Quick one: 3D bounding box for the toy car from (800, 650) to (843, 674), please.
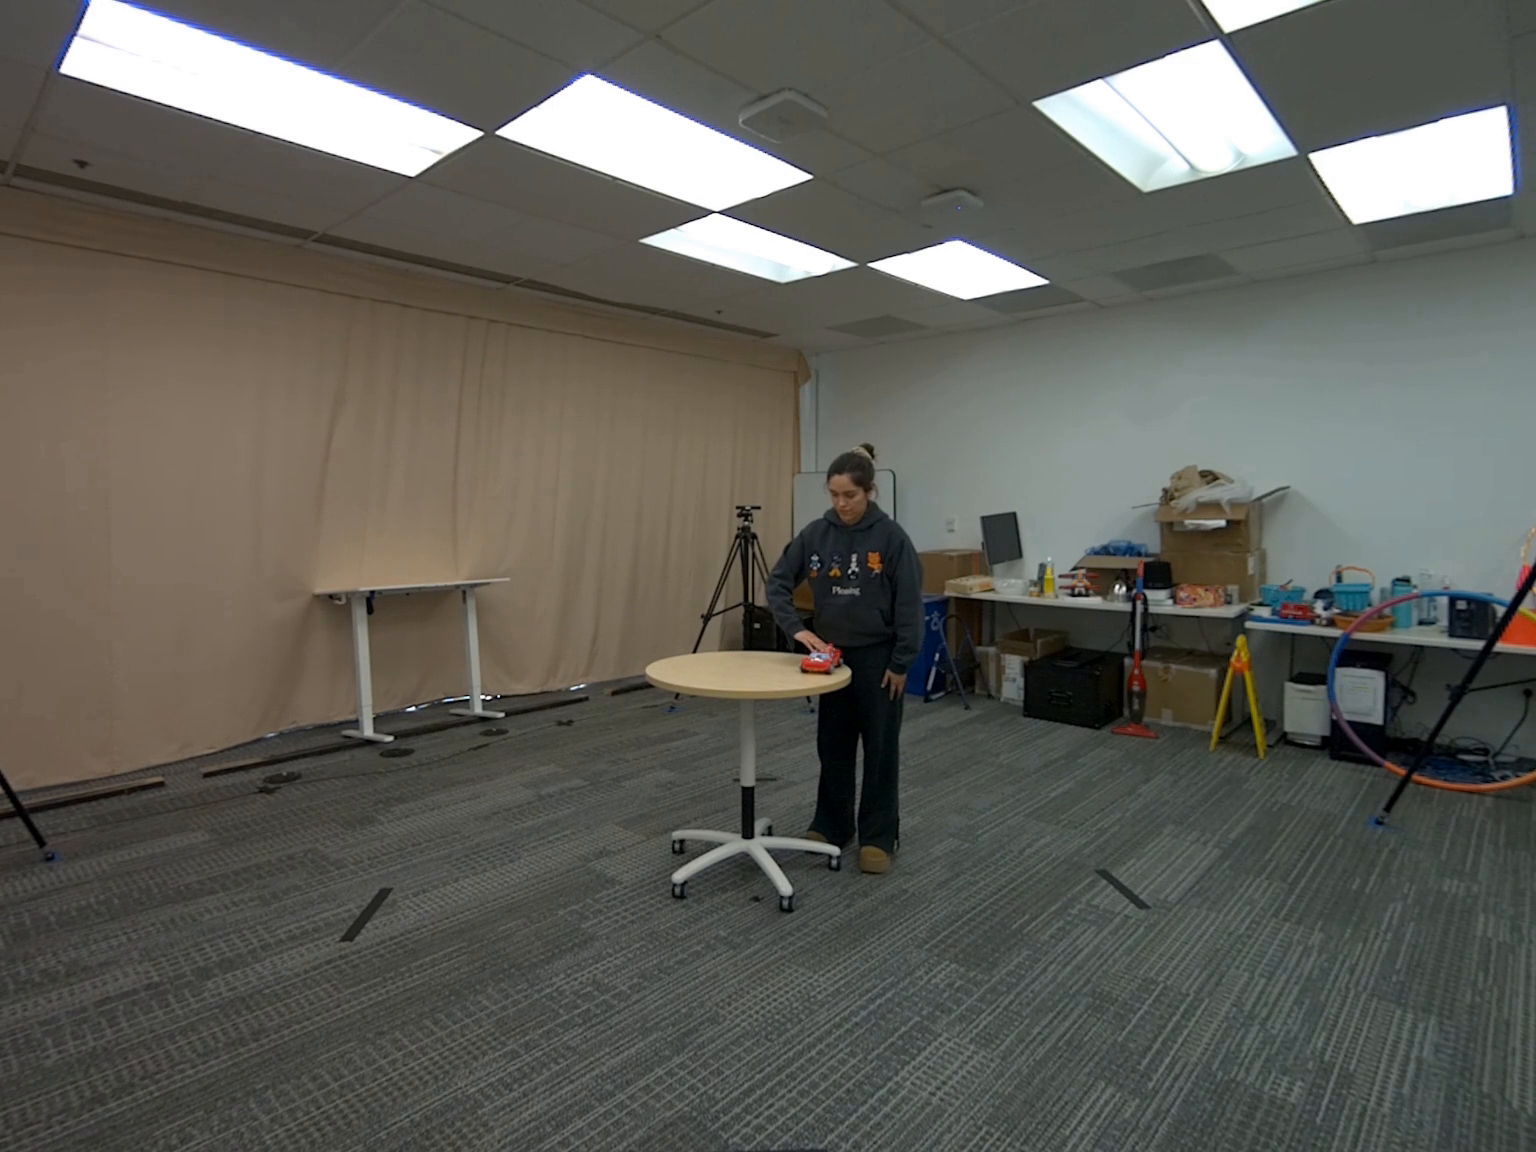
[{"bbox_3d":[0.219,0.312,3.140,0.133,0.082,0.251,0,15,20],"label":"toy car"}]
